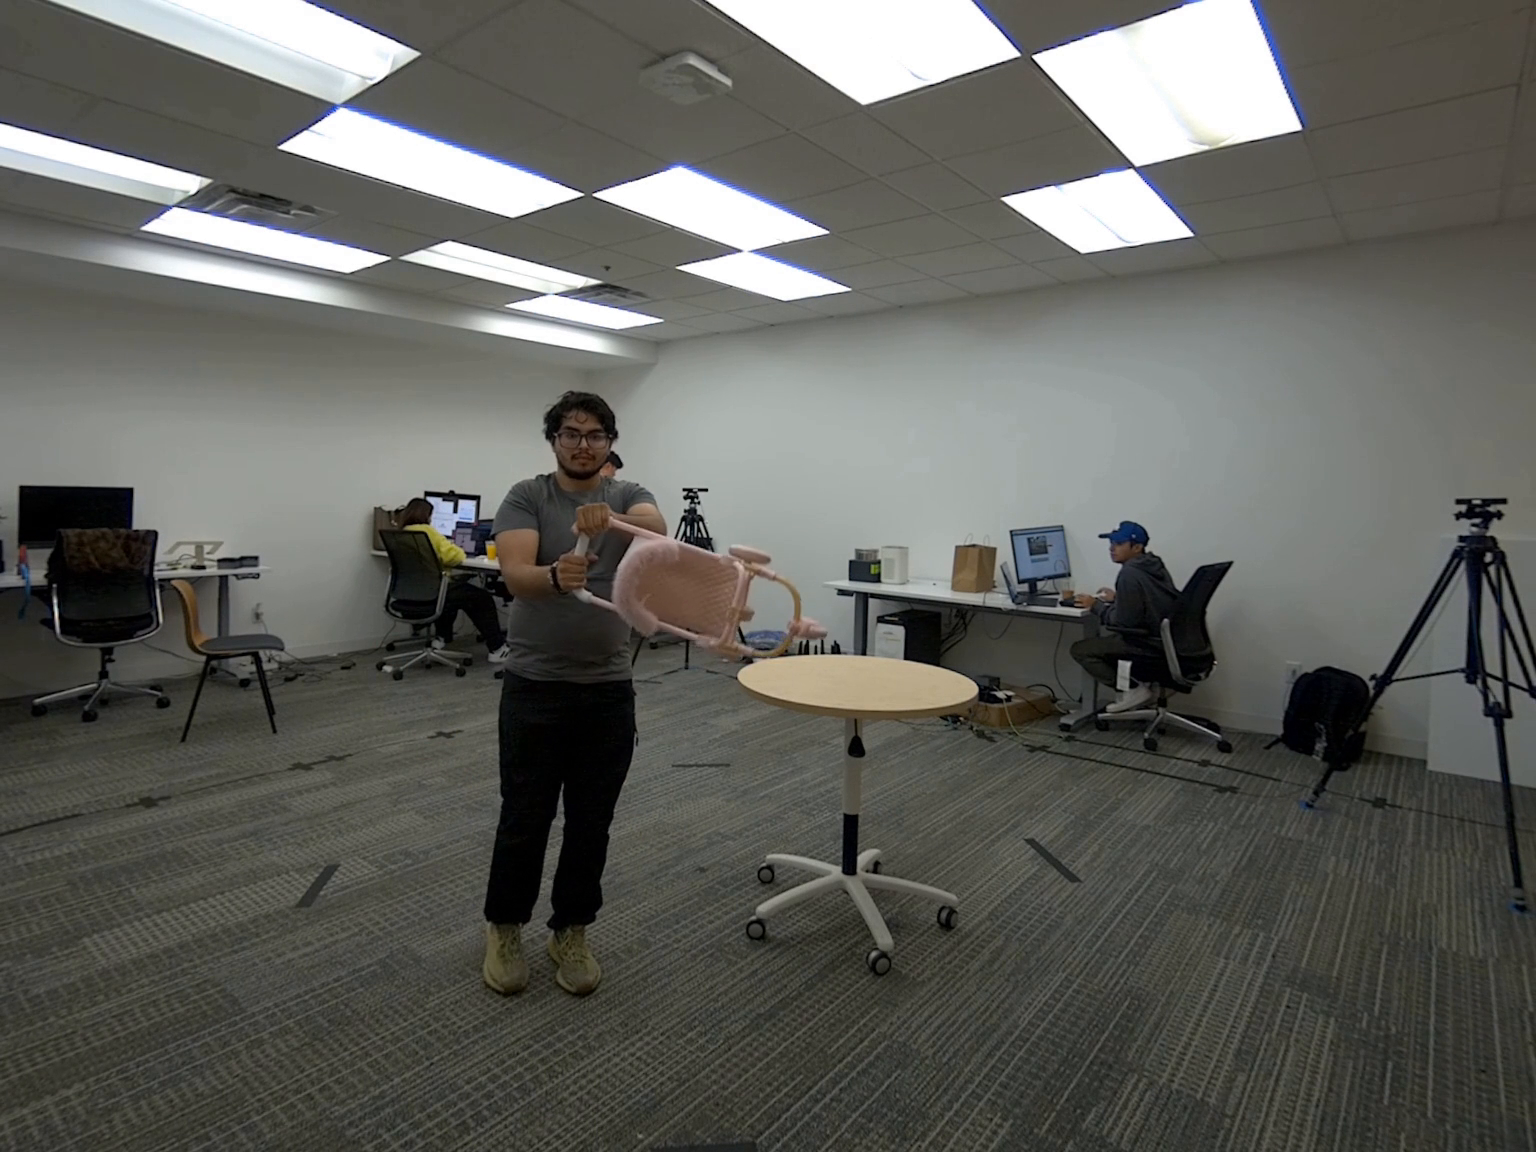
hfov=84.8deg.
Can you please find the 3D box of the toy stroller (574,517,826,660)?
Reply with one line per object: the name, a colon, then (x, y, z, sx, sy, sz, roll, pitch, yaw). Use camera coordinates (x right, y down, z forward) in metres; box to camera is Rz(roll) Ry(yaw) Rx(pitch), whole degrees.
toy stroller: (-0.175, 0.053, 1.987, 0.518, 0.281, 0.353, 18, 3, -28)
